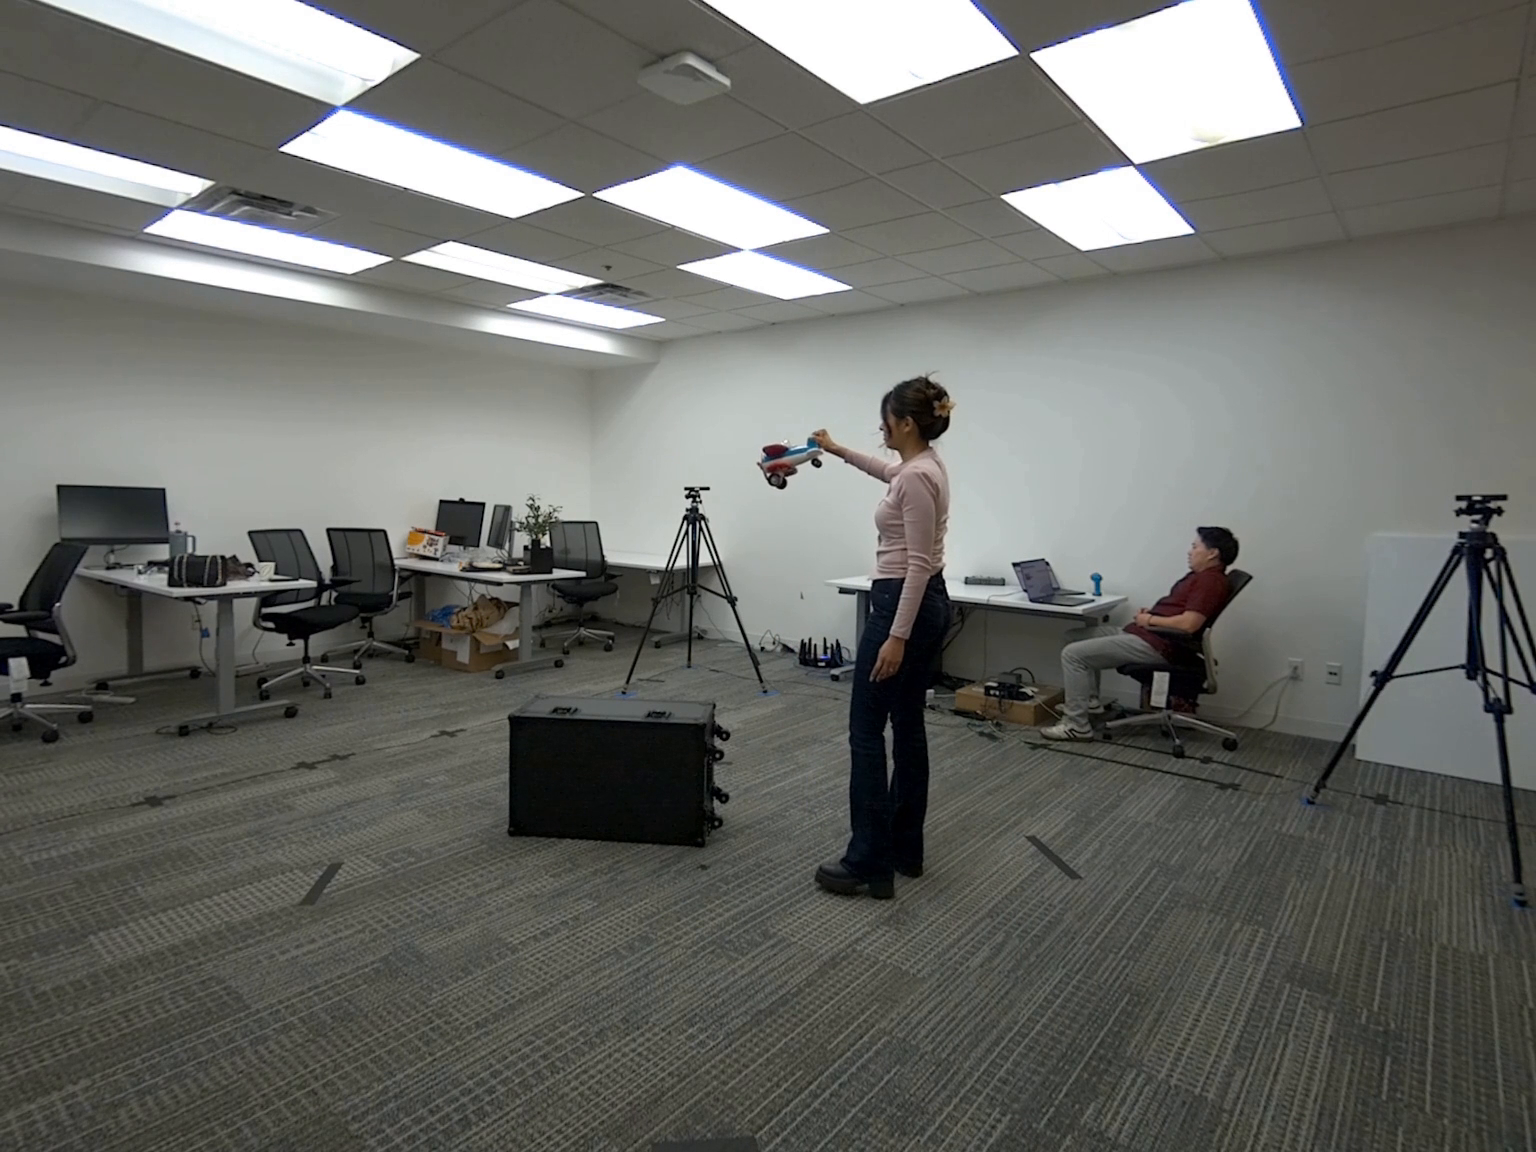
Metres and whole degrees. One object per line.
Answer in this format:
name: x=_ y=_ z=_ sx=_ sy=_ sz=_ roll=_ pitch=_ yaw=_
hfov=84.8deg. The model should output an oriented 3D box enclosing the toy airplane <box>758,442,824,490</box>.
toy airplane: x=0.091 y=-0.473 z=3.488 sx=0.258 sy=0.159 sz=0.249 roll=-23 pitch=-10 yaw=-10
